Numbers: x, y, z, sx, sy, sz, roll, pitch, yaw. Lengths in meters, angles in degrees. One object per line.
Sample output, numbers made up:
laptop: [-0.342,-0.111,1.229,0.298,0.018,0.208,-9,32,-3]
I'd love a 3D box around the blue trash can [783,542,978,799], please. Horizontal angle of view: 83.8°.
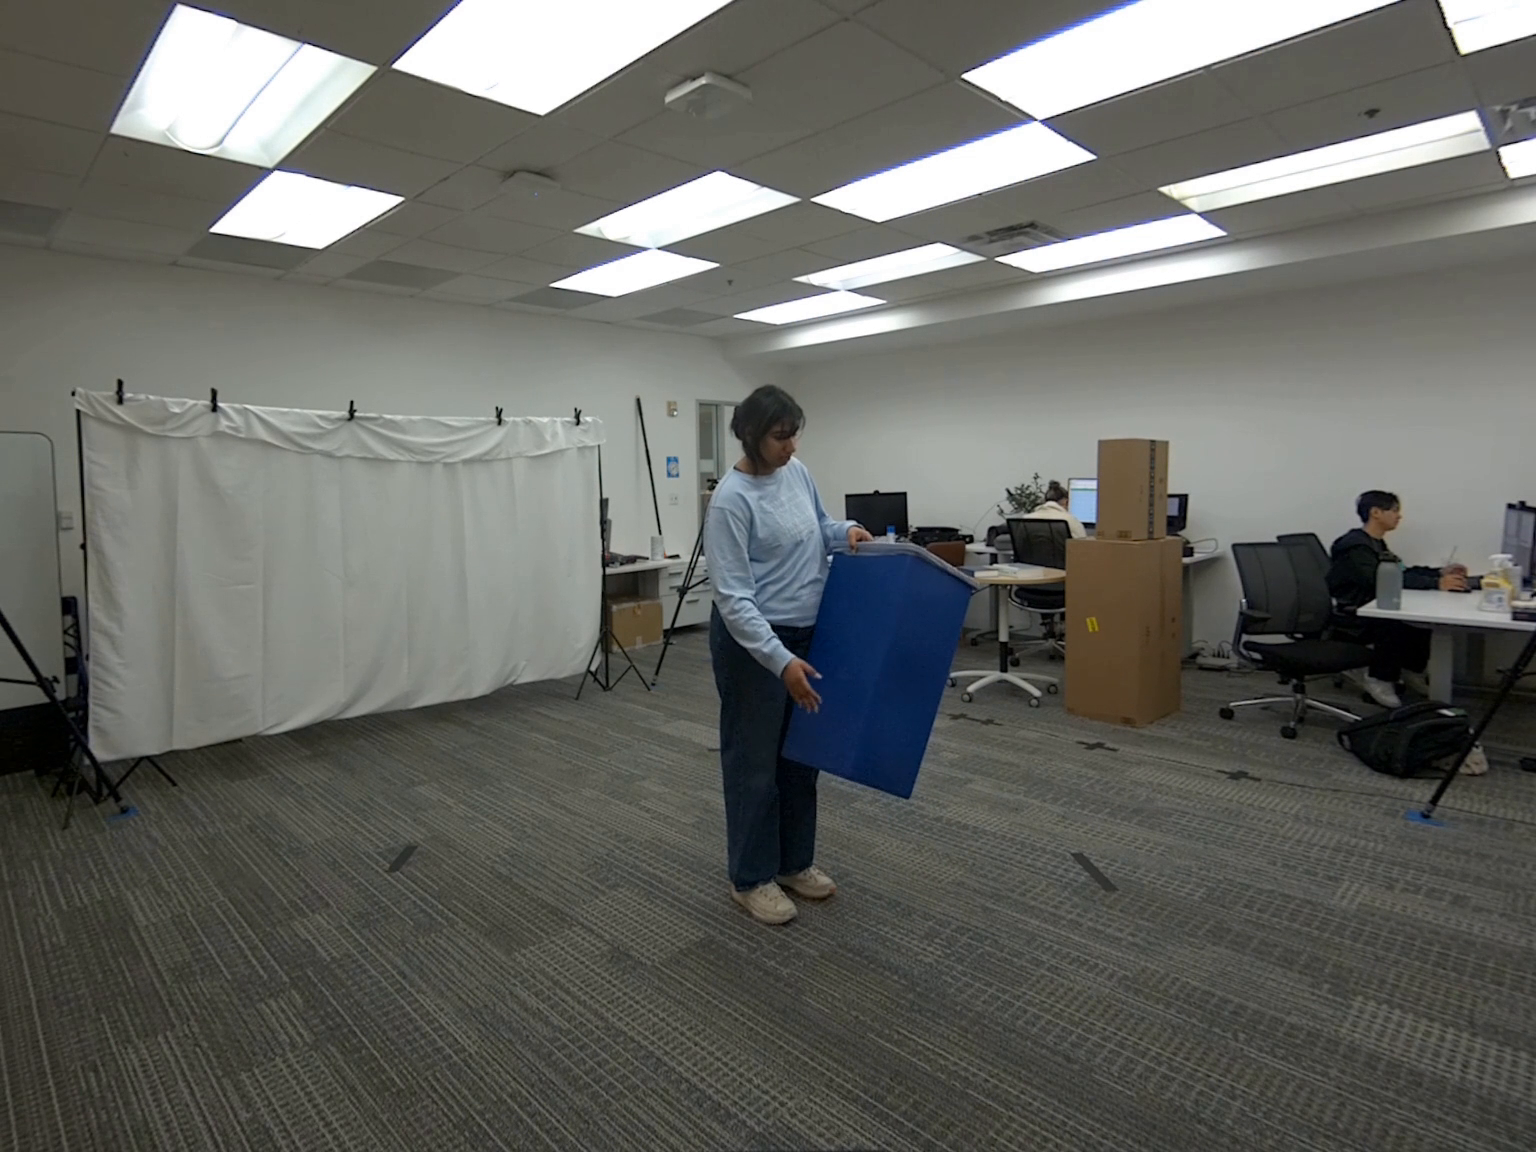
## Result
blue trash can: [0.339,0.287,2.702,0.361,0.719,0.389,28,-16,-36]
